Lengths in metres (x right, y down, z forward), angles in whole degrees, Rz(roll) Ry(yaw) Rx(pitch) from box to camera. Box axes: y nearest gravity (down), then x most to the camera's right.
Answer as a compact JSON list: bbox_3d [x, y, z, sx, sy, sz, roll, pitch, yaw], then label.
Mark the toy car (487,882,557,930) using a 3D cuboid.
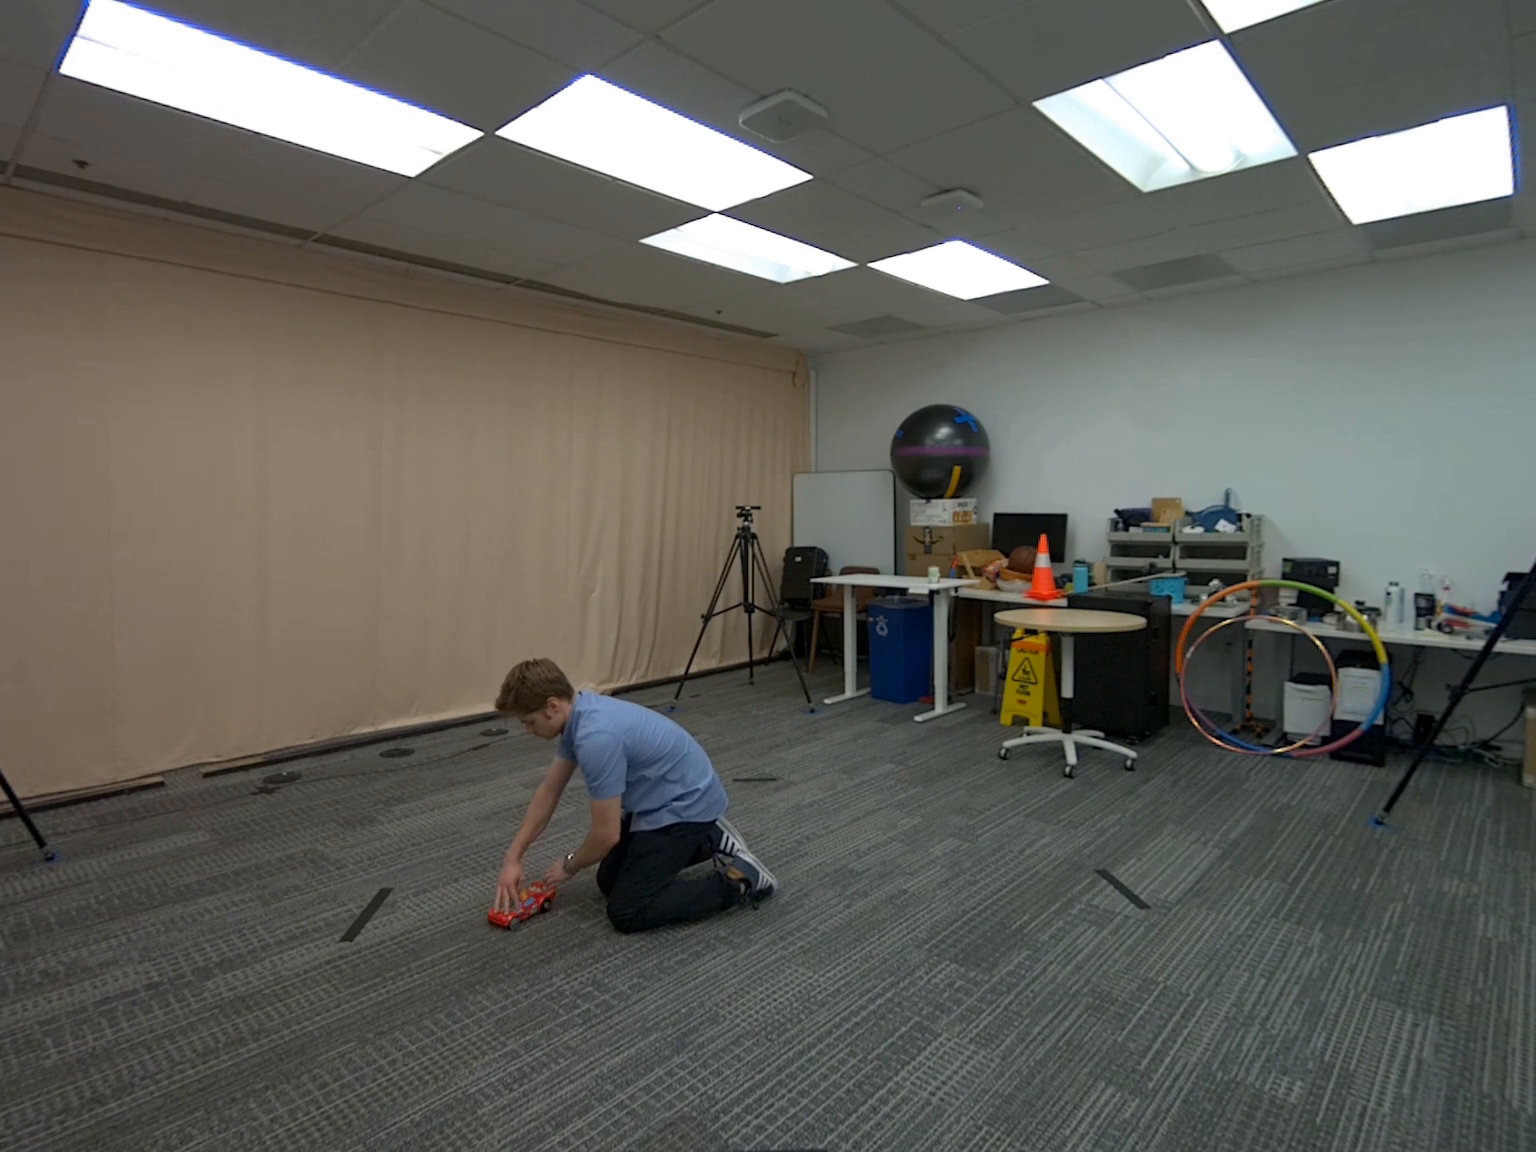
[{"bbox_3d":[-0.836,1.137,2.882,0.134,0.082,0.250,2,17,32],"label":"toy car"}]
